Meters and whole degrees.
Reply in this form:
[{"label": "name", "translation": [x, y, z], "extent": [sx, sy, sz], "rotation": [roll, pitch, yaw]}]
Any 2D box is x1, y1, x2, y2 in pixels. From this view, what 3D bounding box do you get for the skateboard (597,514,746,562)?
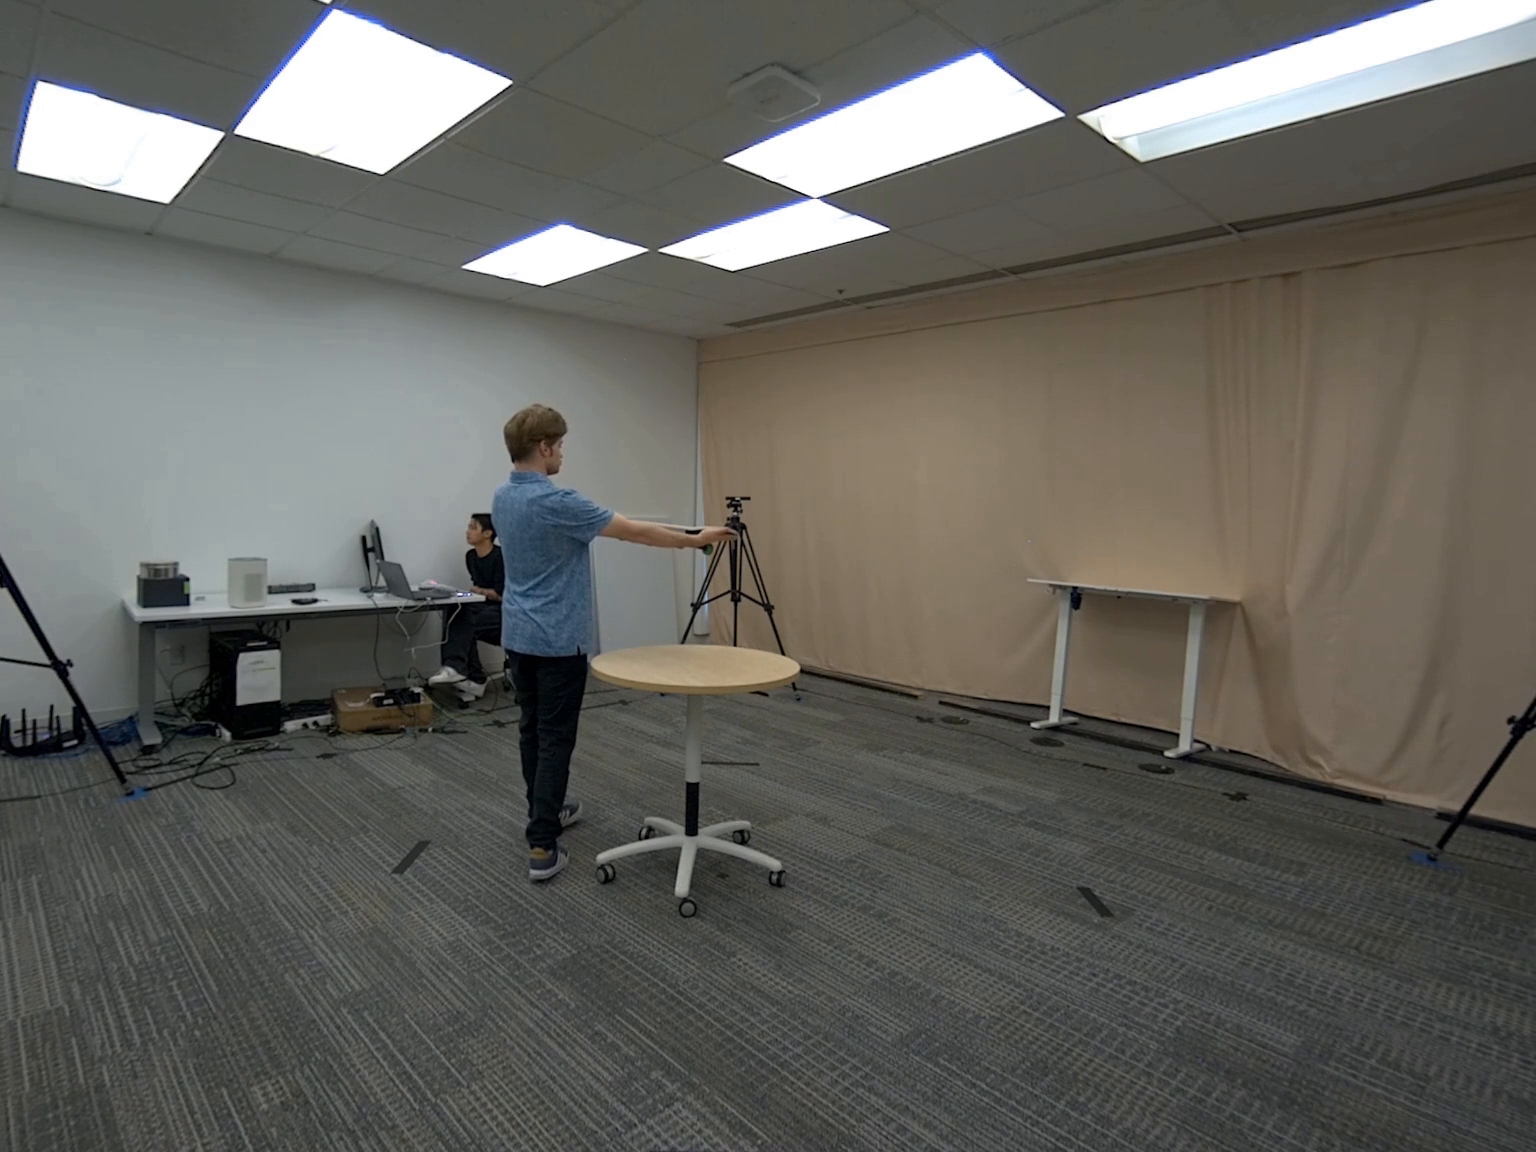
[{"label": "skateboard", "translation": [-0.447, -0.175, 3.590], "extent": [0.806, 0.110, 0.188], "rotation": [9, -5, 45]}]
